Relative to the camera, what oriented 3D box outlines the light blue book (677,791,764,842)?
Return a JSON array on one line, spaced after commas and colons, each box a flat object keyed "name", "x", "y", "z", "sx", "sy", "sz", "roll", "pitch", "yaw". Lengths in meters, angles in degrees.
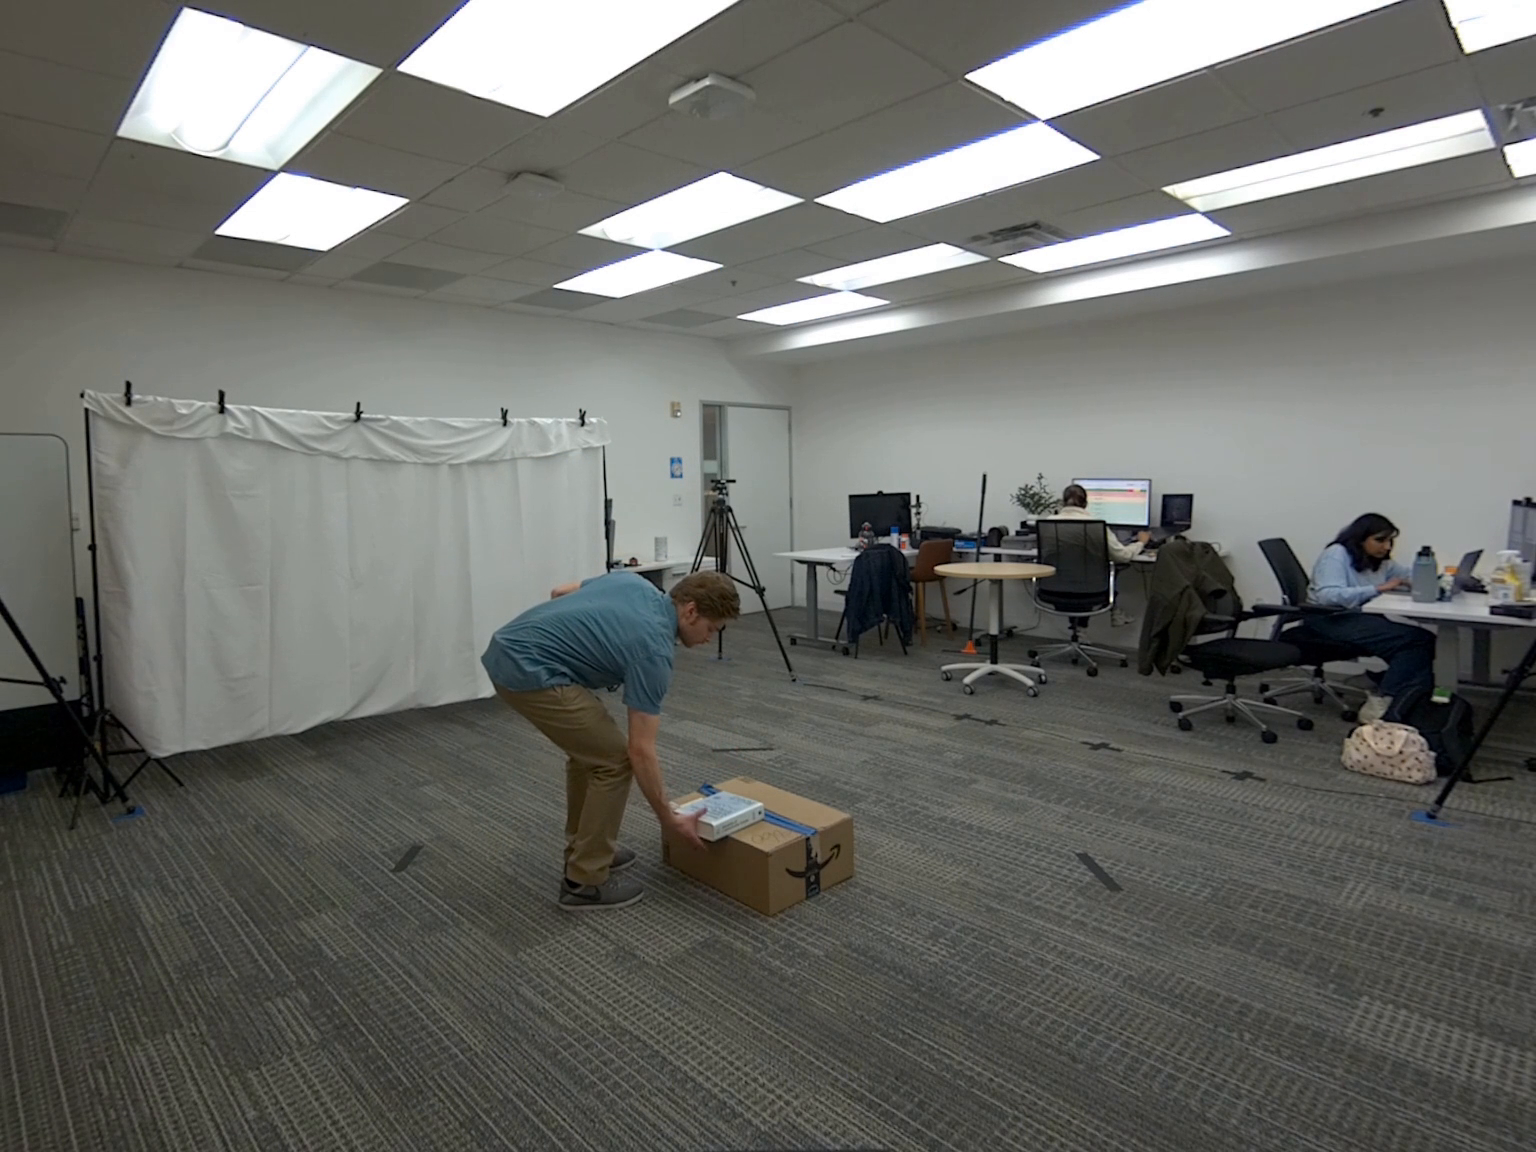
[{"name": "light blue book", "x": -0.170, "y": 0.818, "z": 2.950, "sx": 0.197, "sy": 0.059, "sz": 0.254, "roll": 4, "pitch": 7, "yaw": 39}]
